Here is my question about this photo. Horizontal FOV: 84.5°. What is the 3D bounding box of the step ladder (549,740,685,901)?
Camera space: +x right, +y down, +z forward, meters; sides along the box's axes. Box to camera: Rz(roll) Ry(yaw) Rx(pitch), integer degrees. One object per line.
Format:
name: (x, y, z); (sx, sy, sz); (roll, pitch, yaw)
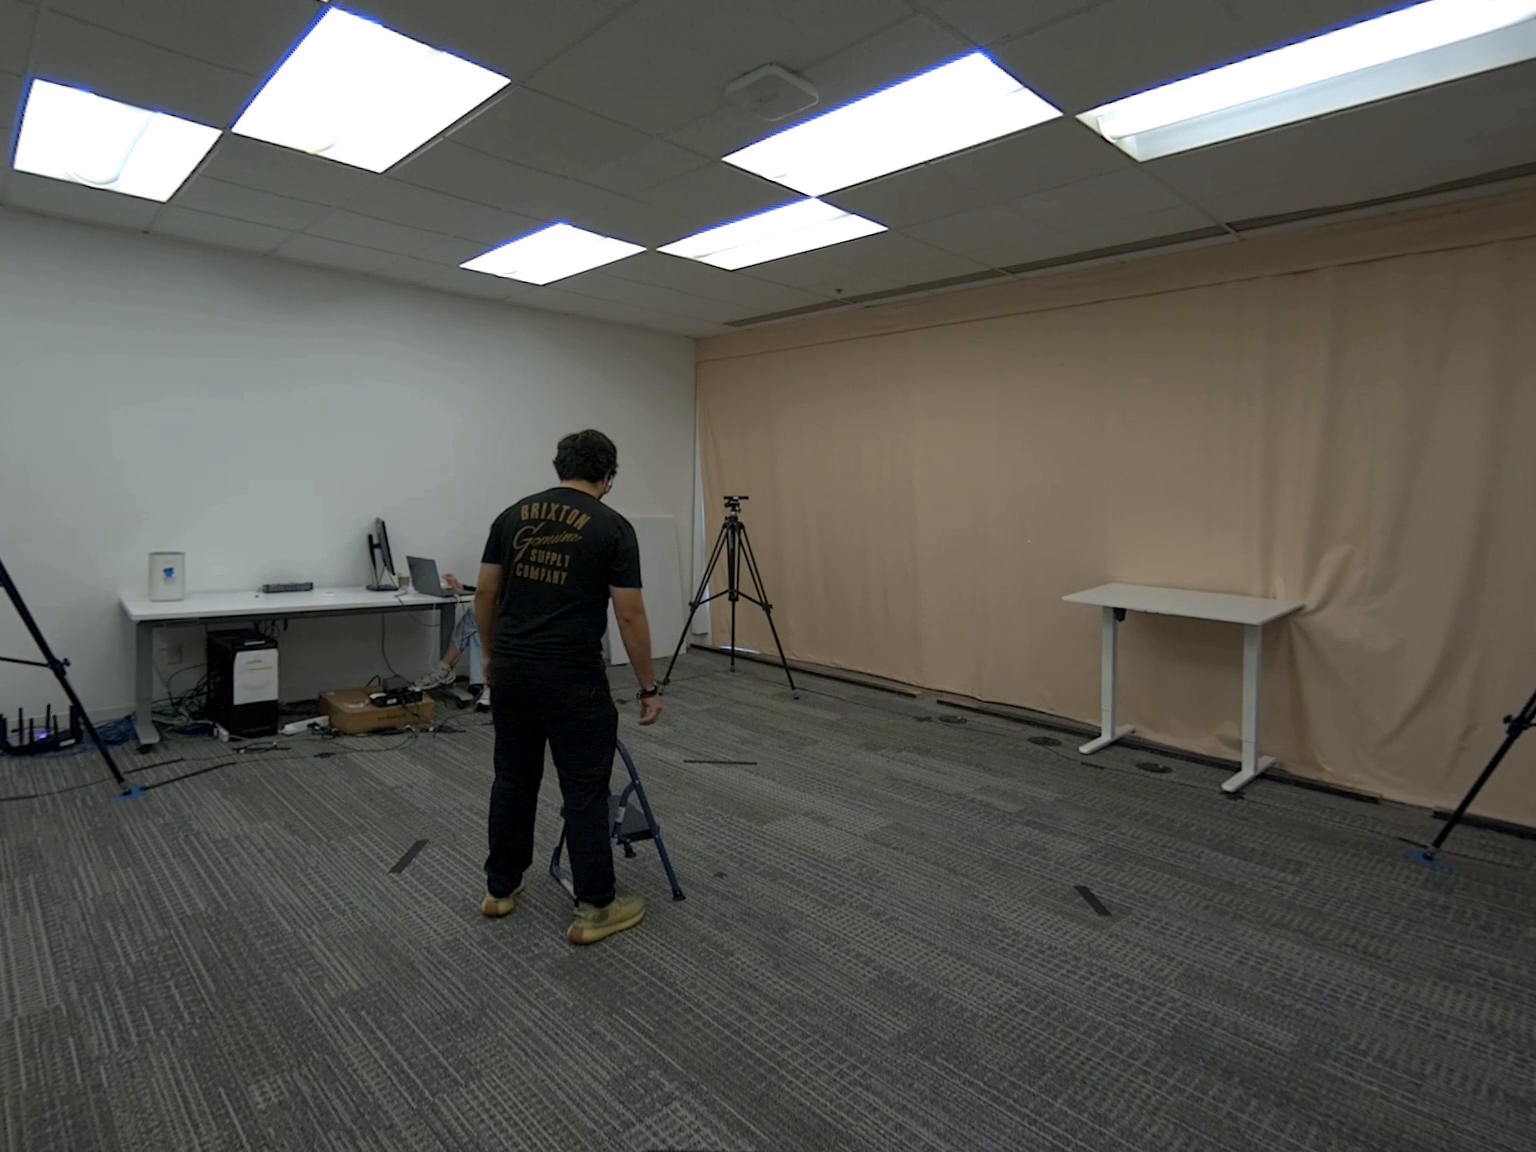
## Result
step ladder: (-0.541, 0.804, 2.987); (0.342, 0.604, 0.441); (-2, 5, -34)
